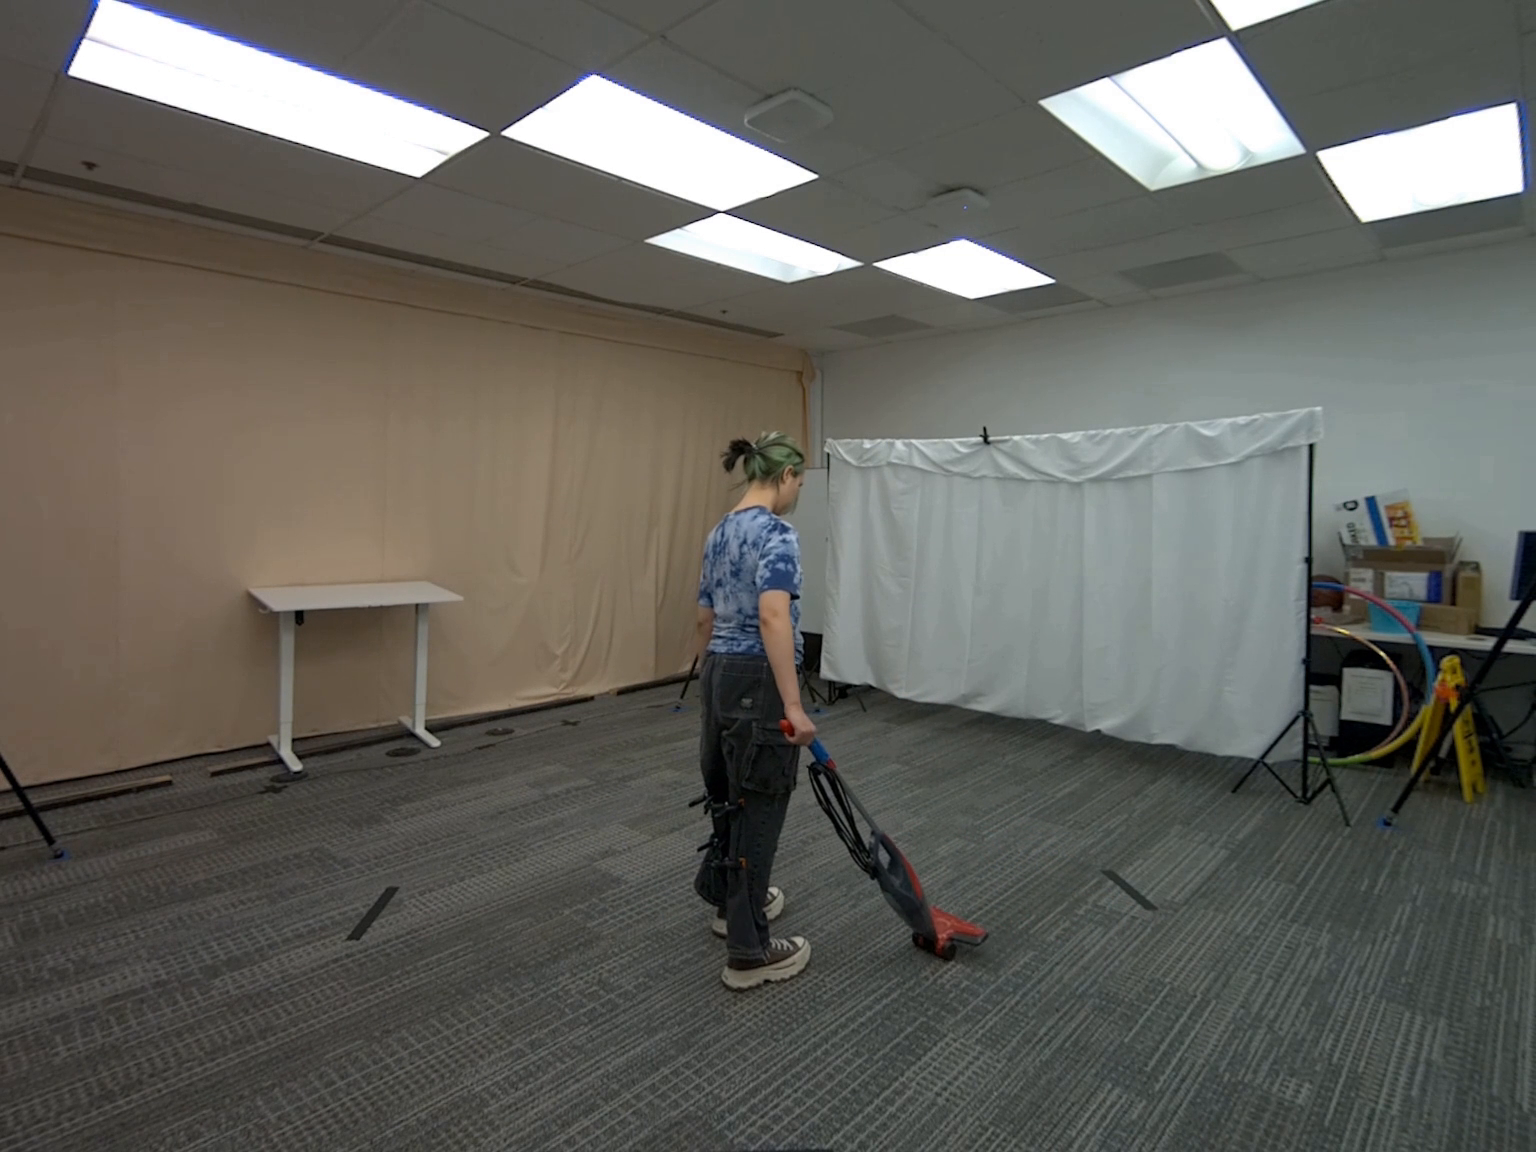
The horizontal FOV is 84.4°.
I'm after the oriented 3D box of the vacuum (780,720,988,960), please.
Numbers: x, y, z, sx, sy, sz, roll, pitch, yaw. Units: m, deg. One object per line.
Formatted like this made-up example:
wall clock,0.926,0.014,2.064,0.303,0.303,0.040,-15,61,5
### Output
vacuum,0.297,0.777,2.418,0.261,1.020,0.143,2,47,50
